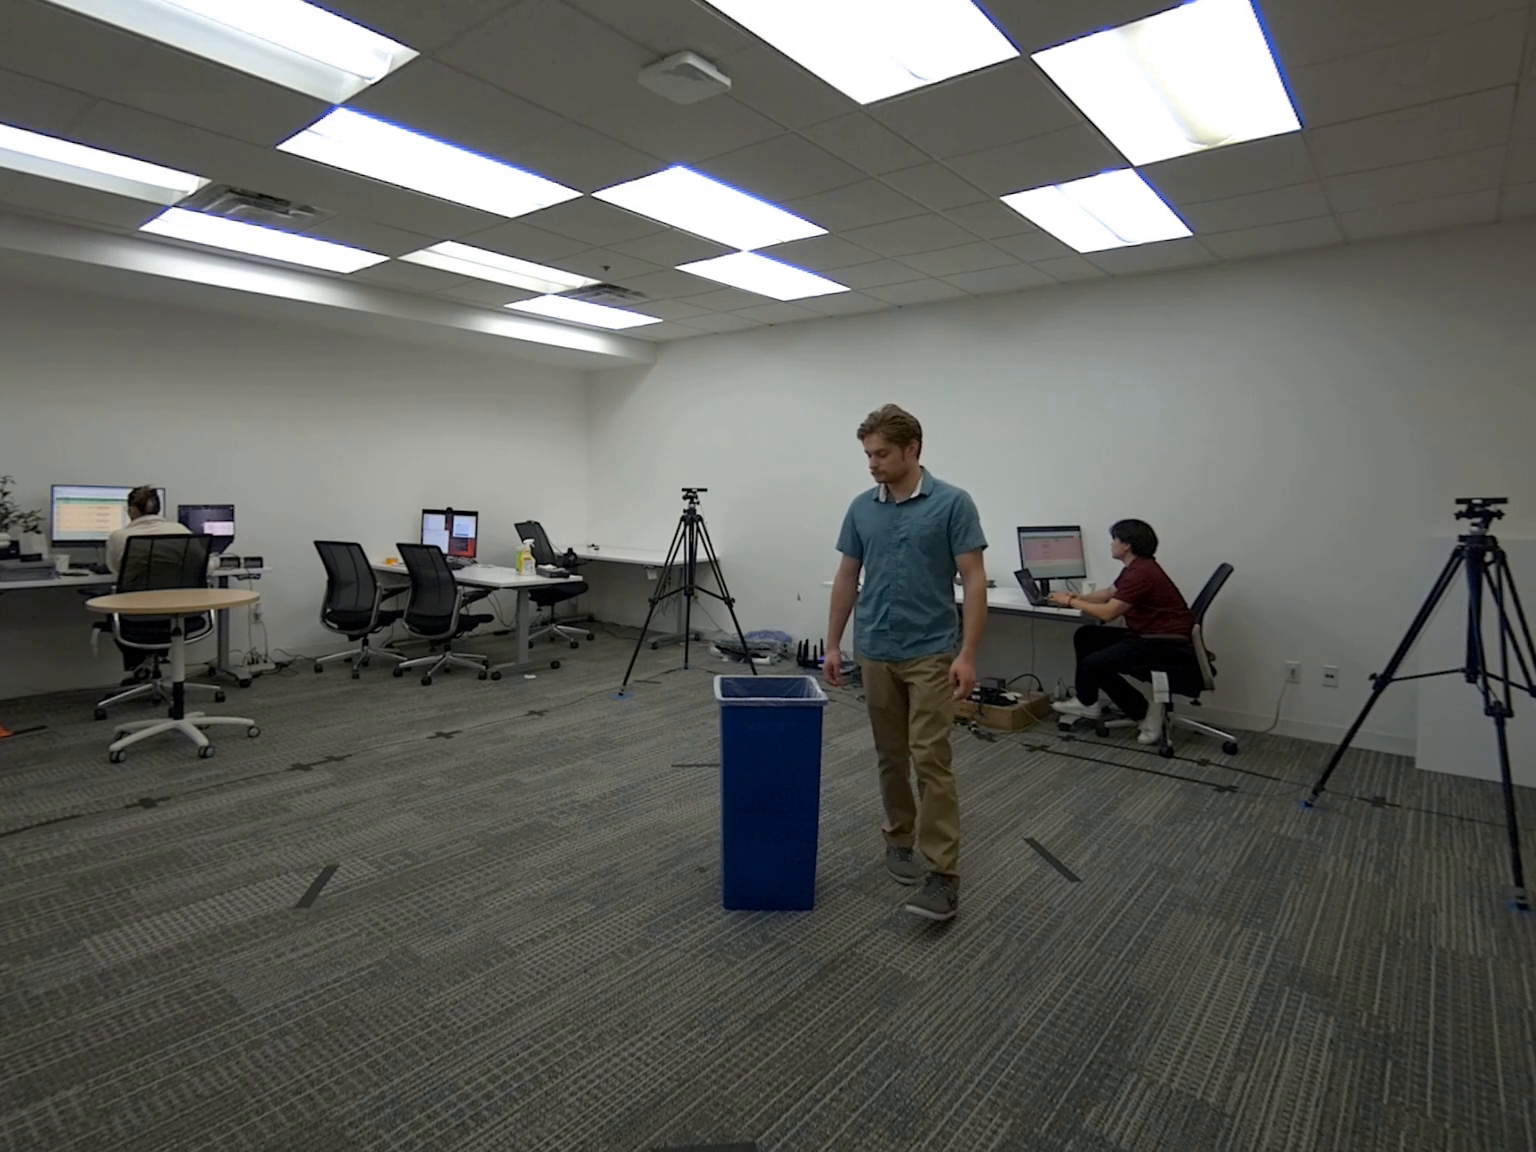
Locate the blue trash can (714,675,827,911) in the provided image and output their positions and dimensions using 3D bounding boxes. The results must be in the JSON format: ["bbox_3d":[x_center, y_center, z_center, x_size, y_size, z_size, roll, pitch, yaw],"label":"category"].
[{"bbox_3d":[-0.010,0.735,2.958,0.376,0.711,0.377,1,3,-5],"label":"blue trash can"}]
